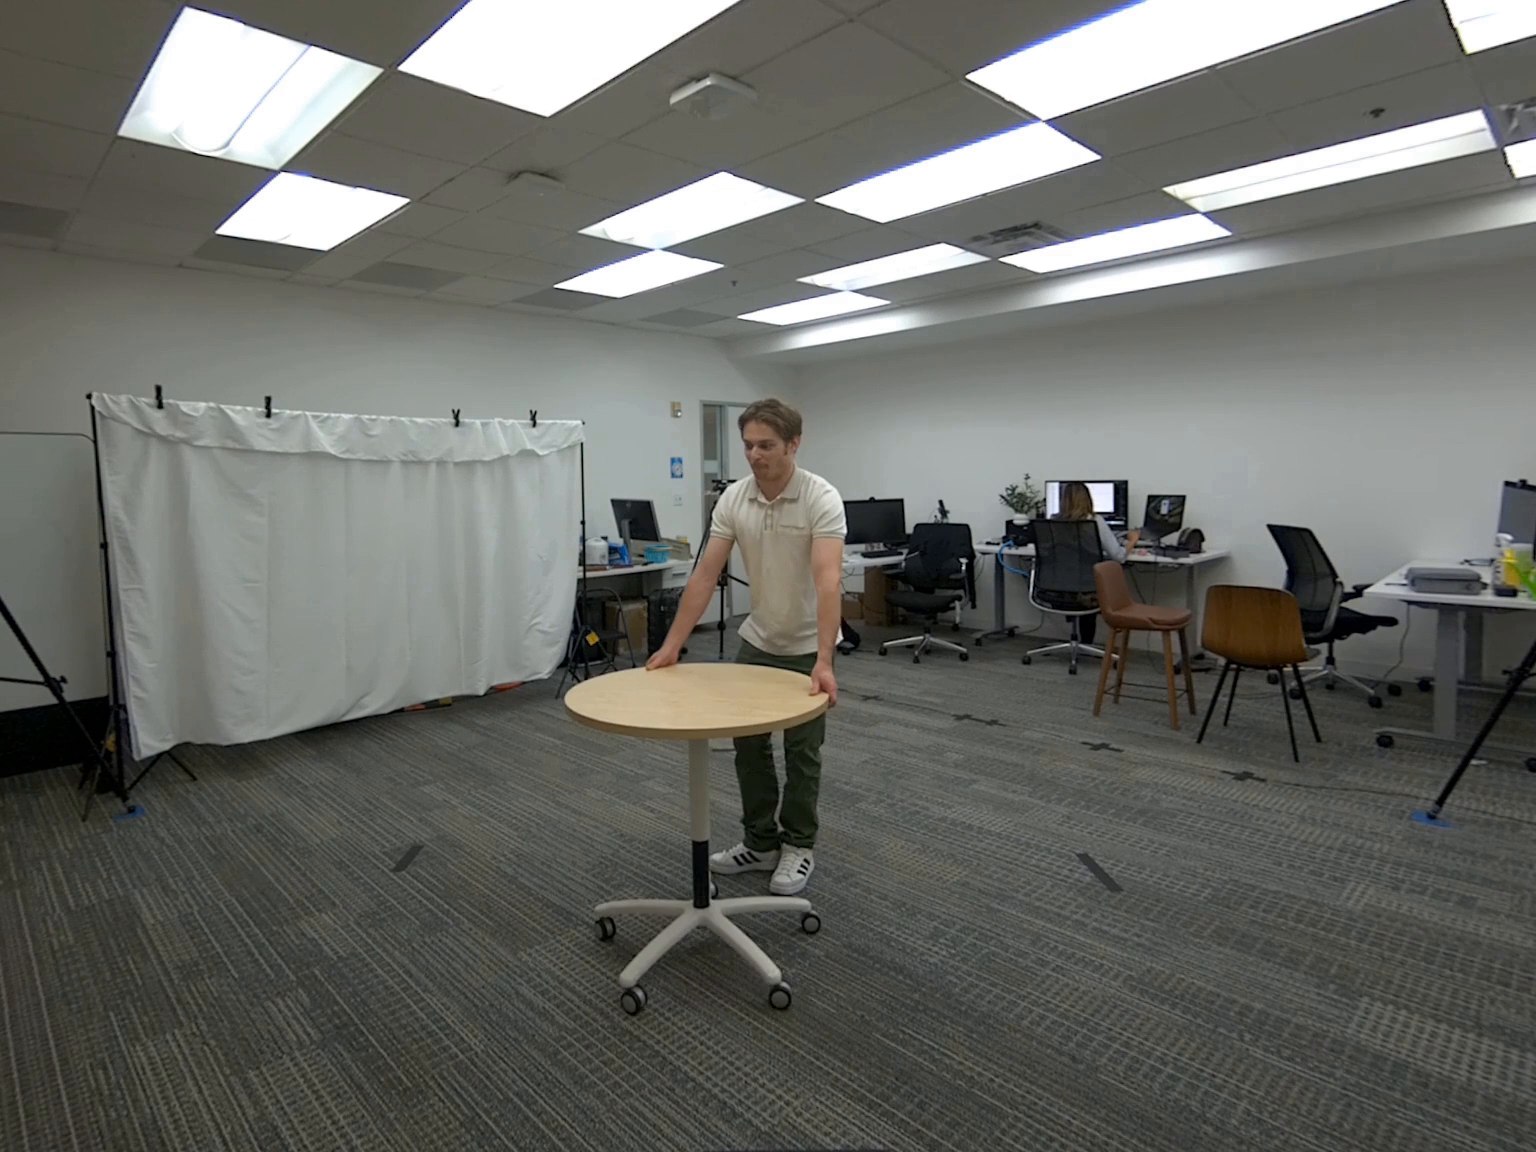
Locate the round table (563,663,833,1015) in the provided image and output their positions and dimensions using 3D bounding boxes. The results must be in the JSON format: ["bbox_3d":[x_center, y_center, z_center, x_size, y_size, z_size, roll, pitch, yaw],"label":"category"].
[{"bbox_3d":[-0.198,0.732,2.522,0.763,0.791,0.768,-1,5,-2],"label":"round table"}]
